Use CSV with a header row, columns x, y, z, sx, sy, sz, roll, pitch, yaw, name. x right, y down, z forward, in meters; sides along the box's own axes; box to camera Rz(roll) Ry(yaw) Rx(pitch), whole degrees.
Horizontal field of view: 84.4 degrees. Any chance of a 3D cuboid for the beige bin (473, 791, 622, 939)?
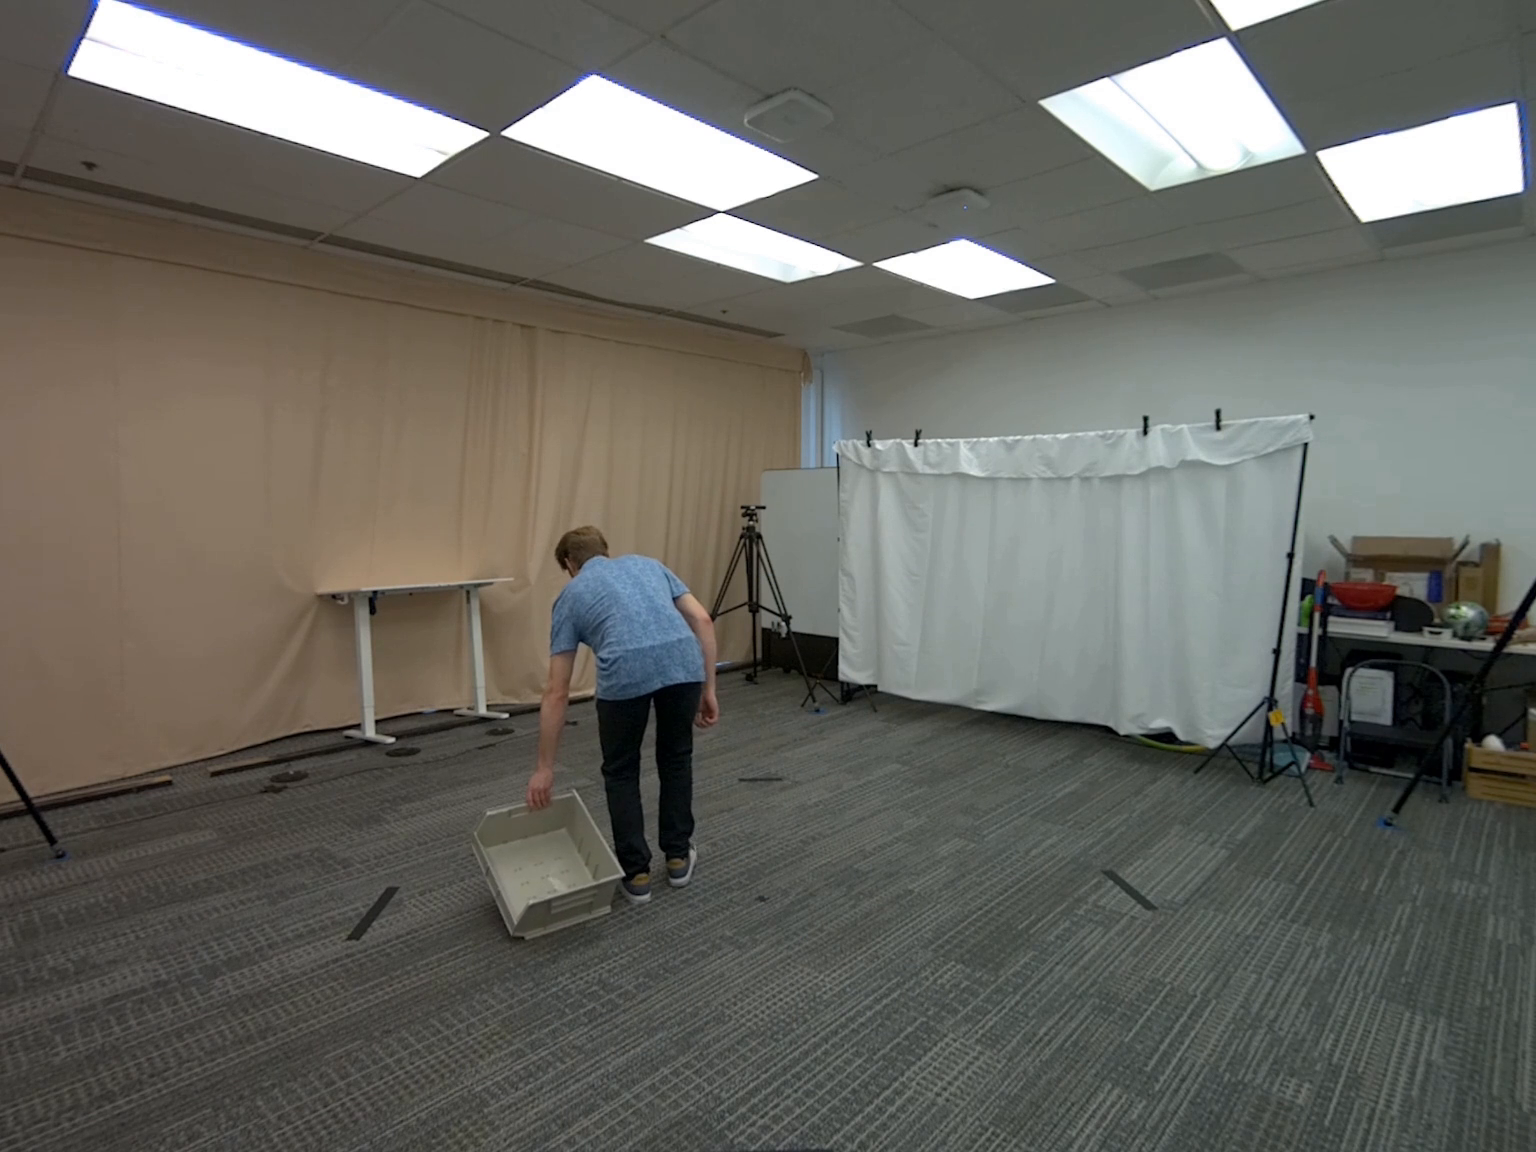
x,y,z,sx,sy,sz,roll,pitch,yaw,name
-0.764,0.981,2.892,0.366,0.188,0.438,-3,31,-37,beige bin
